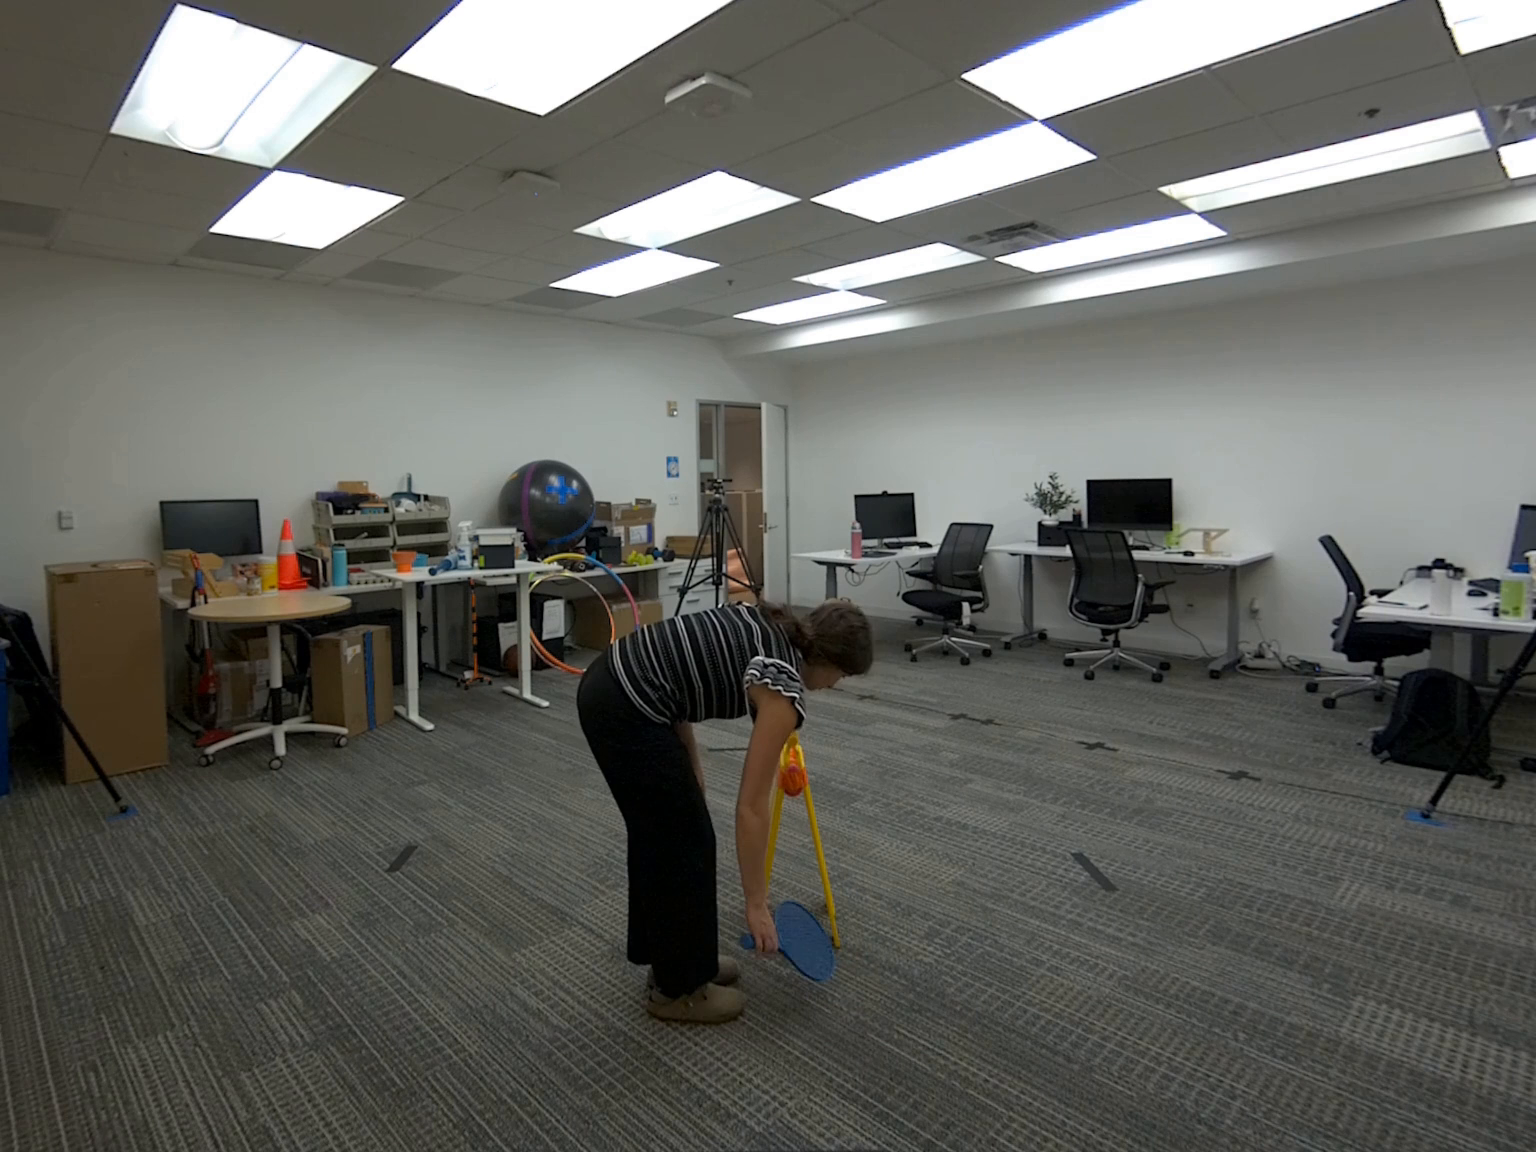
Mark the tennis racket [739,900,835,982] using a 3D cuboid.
[{"bbox_3d":[0.051,0.968,2.221,0.032,0.221,0.416,-37,-38,16],"label":"tennis racket"}]
